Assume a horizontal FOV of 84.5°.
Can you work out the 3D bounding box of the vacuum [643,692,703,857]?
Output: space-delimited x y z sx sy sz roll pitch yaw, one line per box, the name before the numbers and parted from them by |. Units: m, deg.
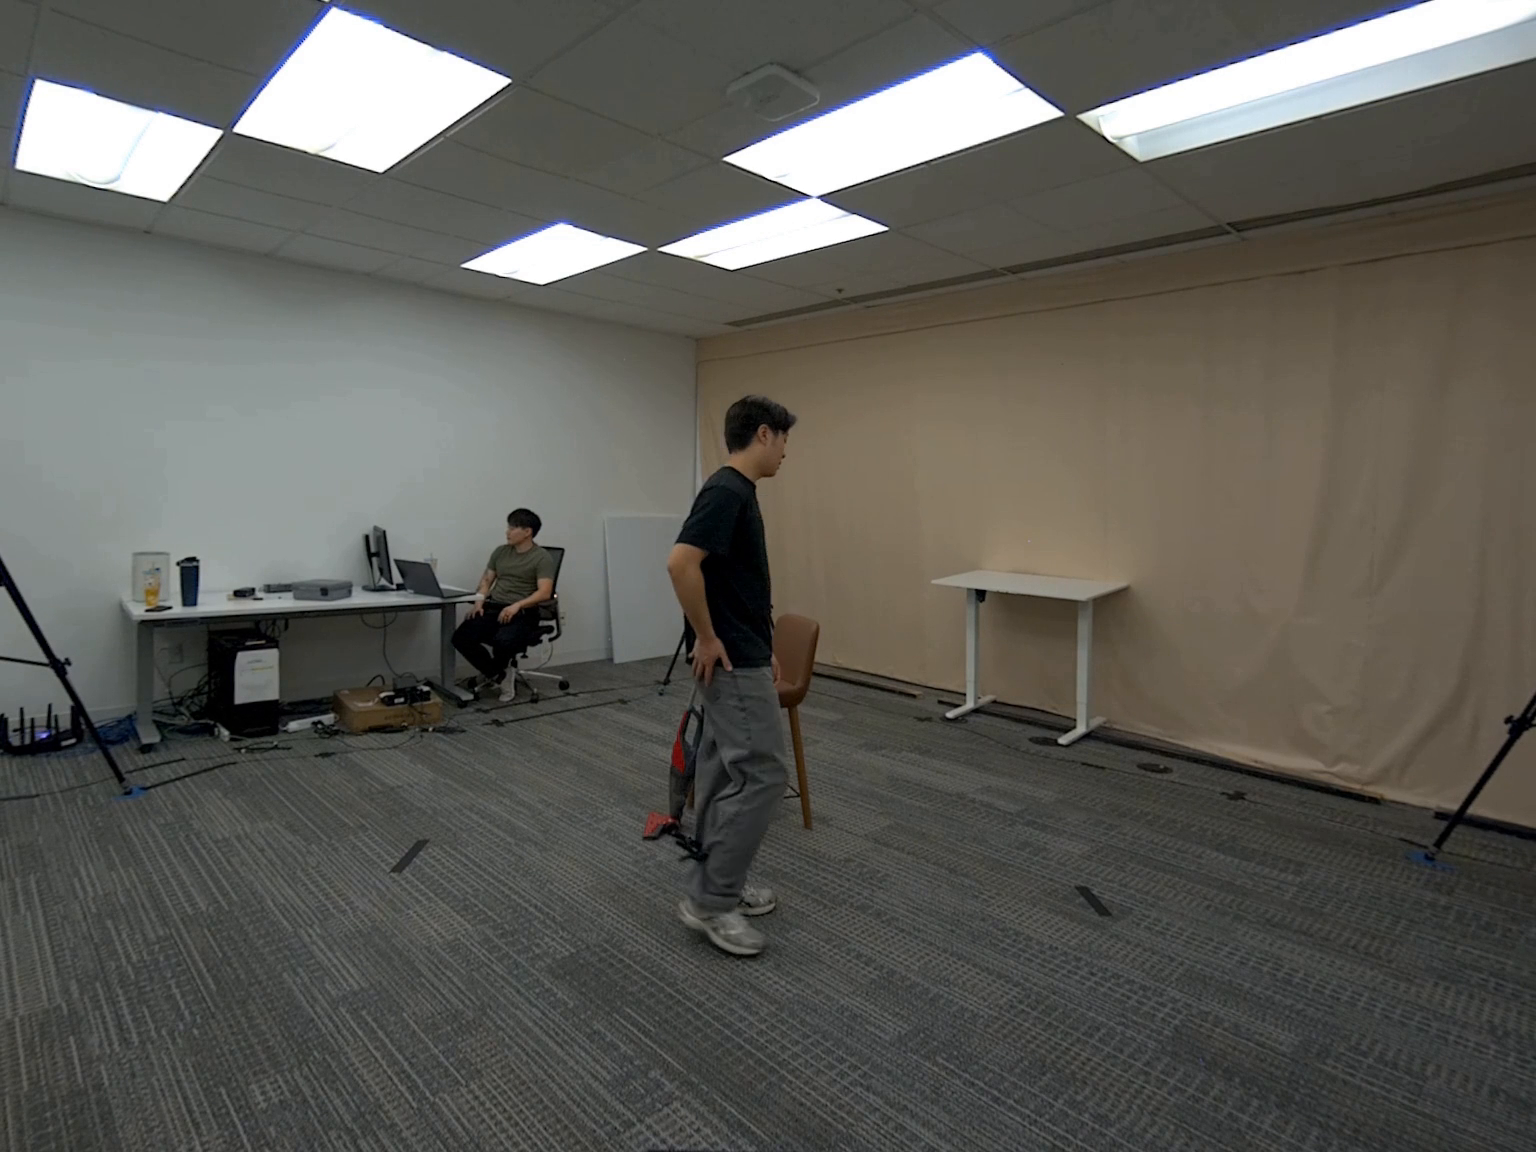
vacuum | -0.284 0.559 3.489 0.144 1.048 0.252 16 3 0
